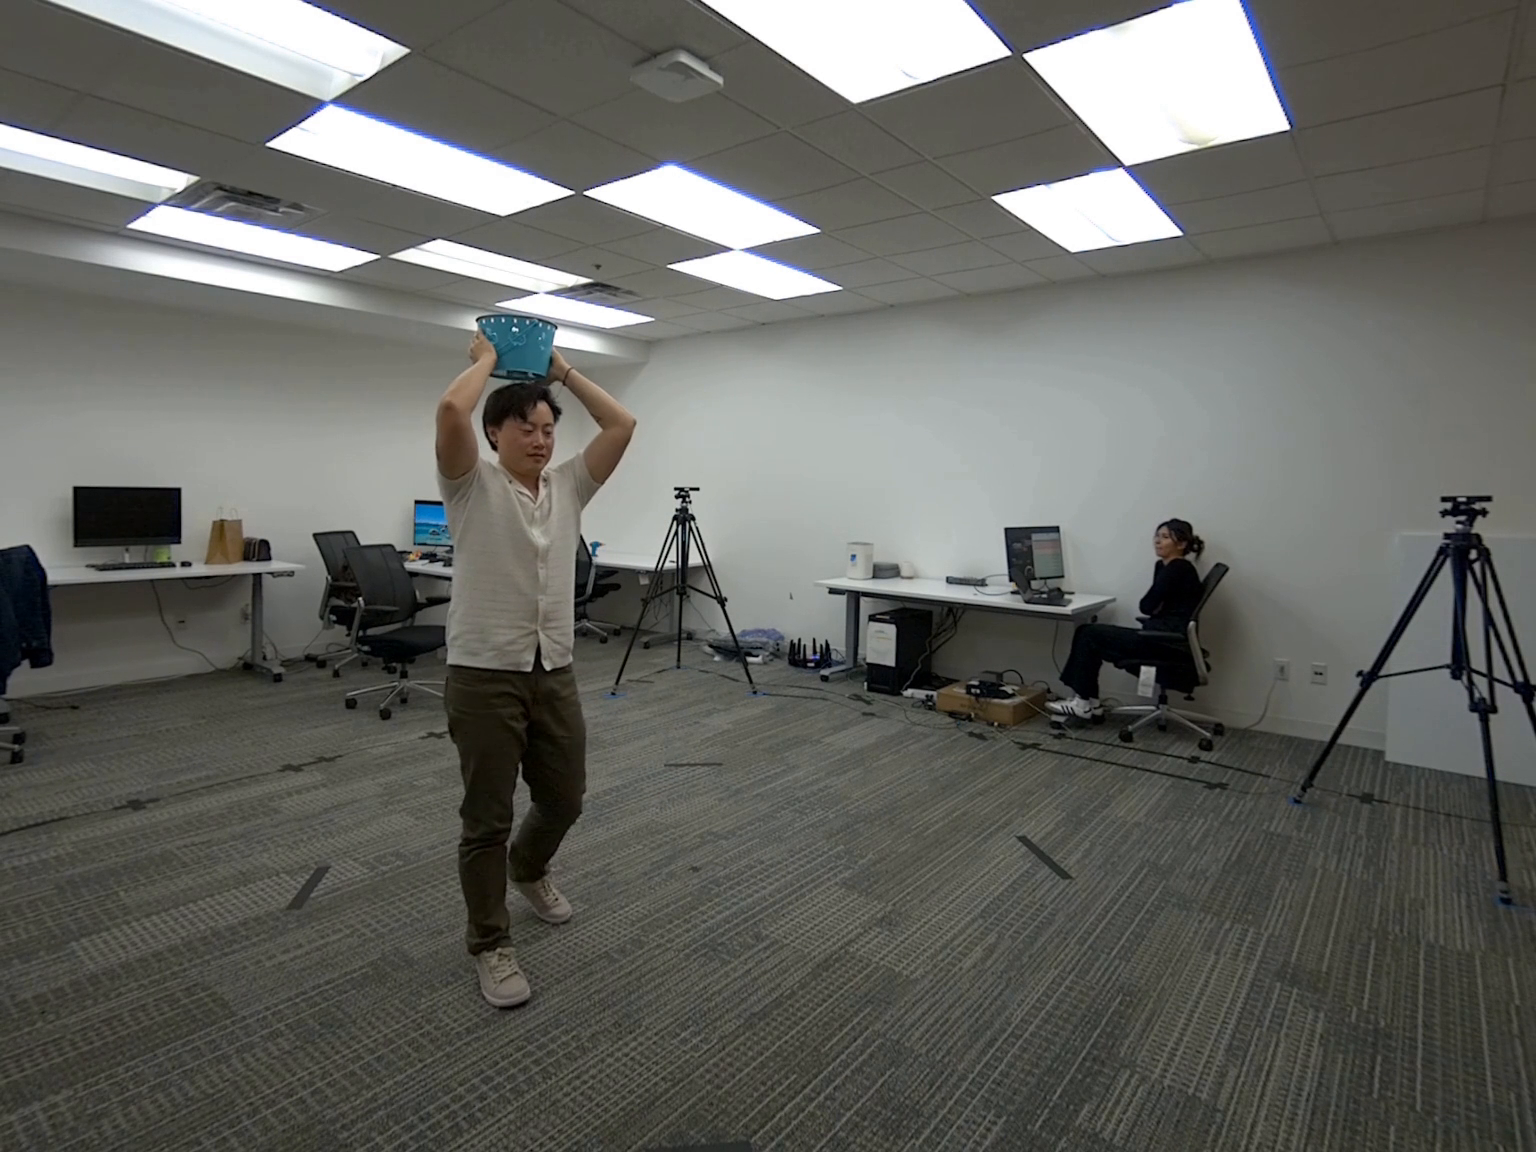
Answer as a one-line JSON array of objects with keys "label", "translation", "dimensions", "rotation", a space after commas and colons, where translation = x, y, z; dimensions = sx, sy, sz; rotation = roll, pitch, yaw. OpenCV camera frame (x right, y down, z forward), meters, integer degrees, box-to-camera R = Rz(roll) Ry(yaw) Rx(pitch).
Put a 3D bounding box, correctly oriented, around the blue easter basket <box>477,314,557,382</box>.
[{"label": "blue easter basket", "translation": [-0.752, -0.662, 2.456], "dimensions": [0.243, 0.156, 0.244], "rotation": [3, 1, -2]}]
